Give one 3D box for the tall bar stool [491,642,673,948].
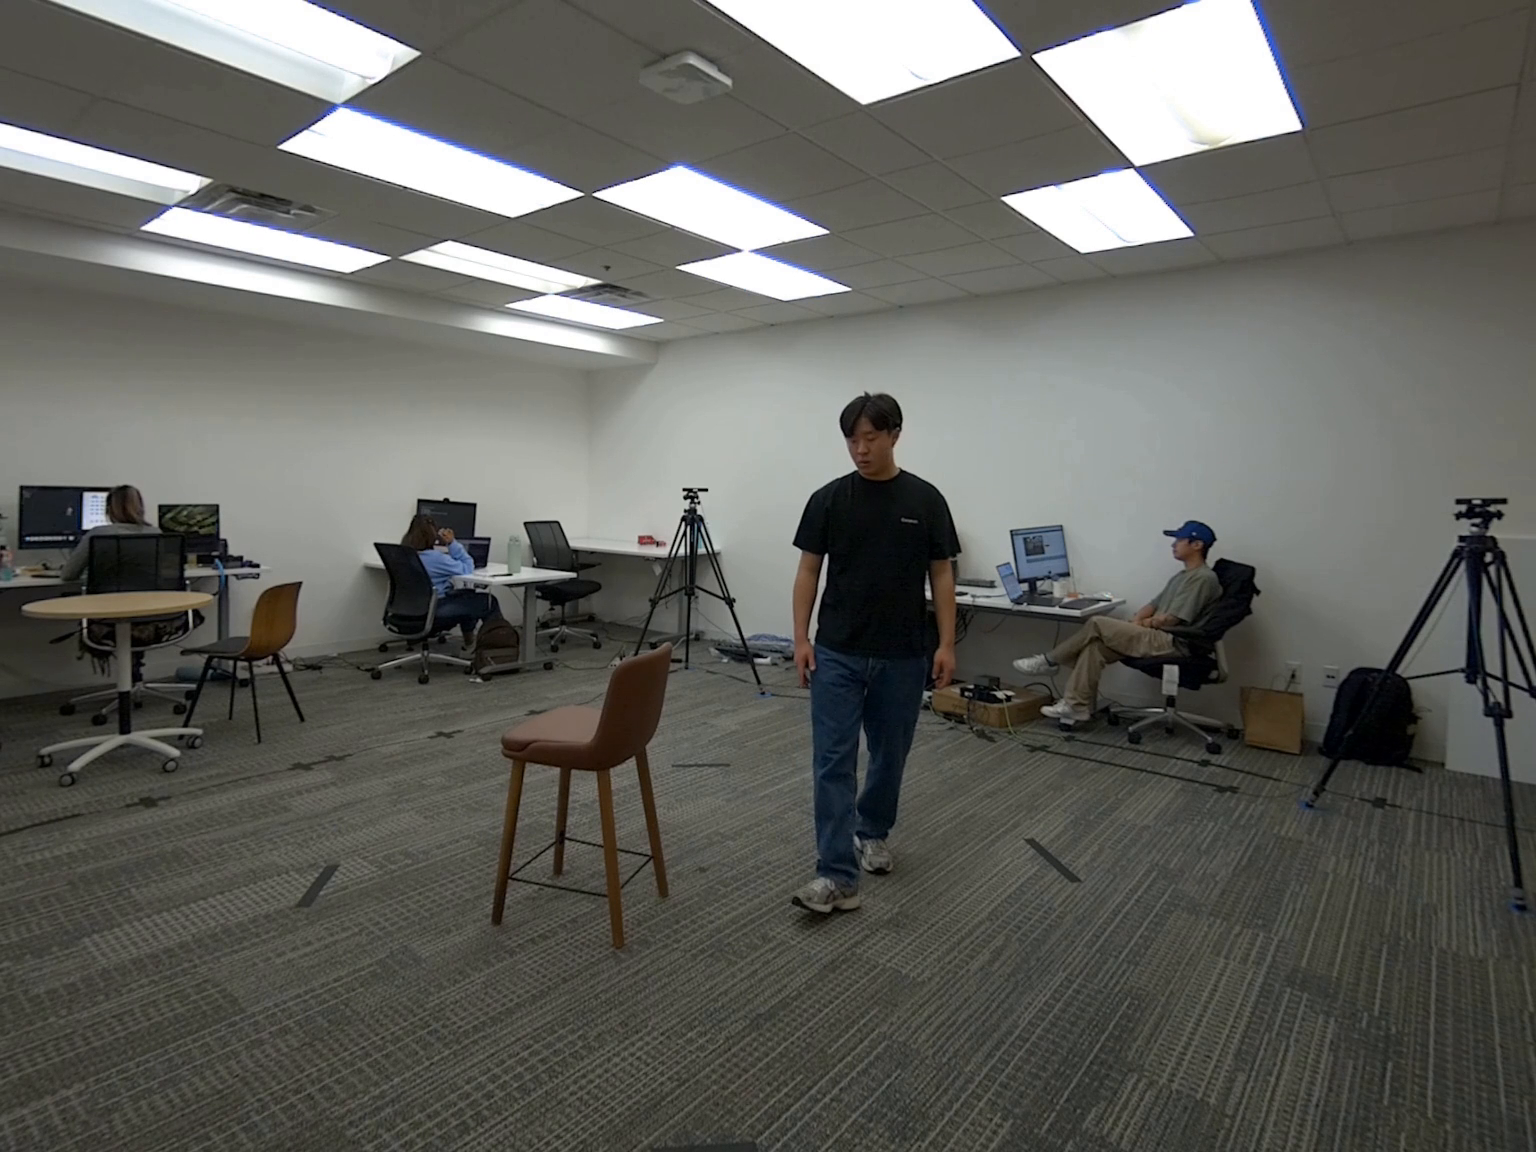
[{"bbox_3d":[-0.607,0.661,2.775,0.477,0.887,0.449,4,4,18],"label":"tall bar stool"}]
